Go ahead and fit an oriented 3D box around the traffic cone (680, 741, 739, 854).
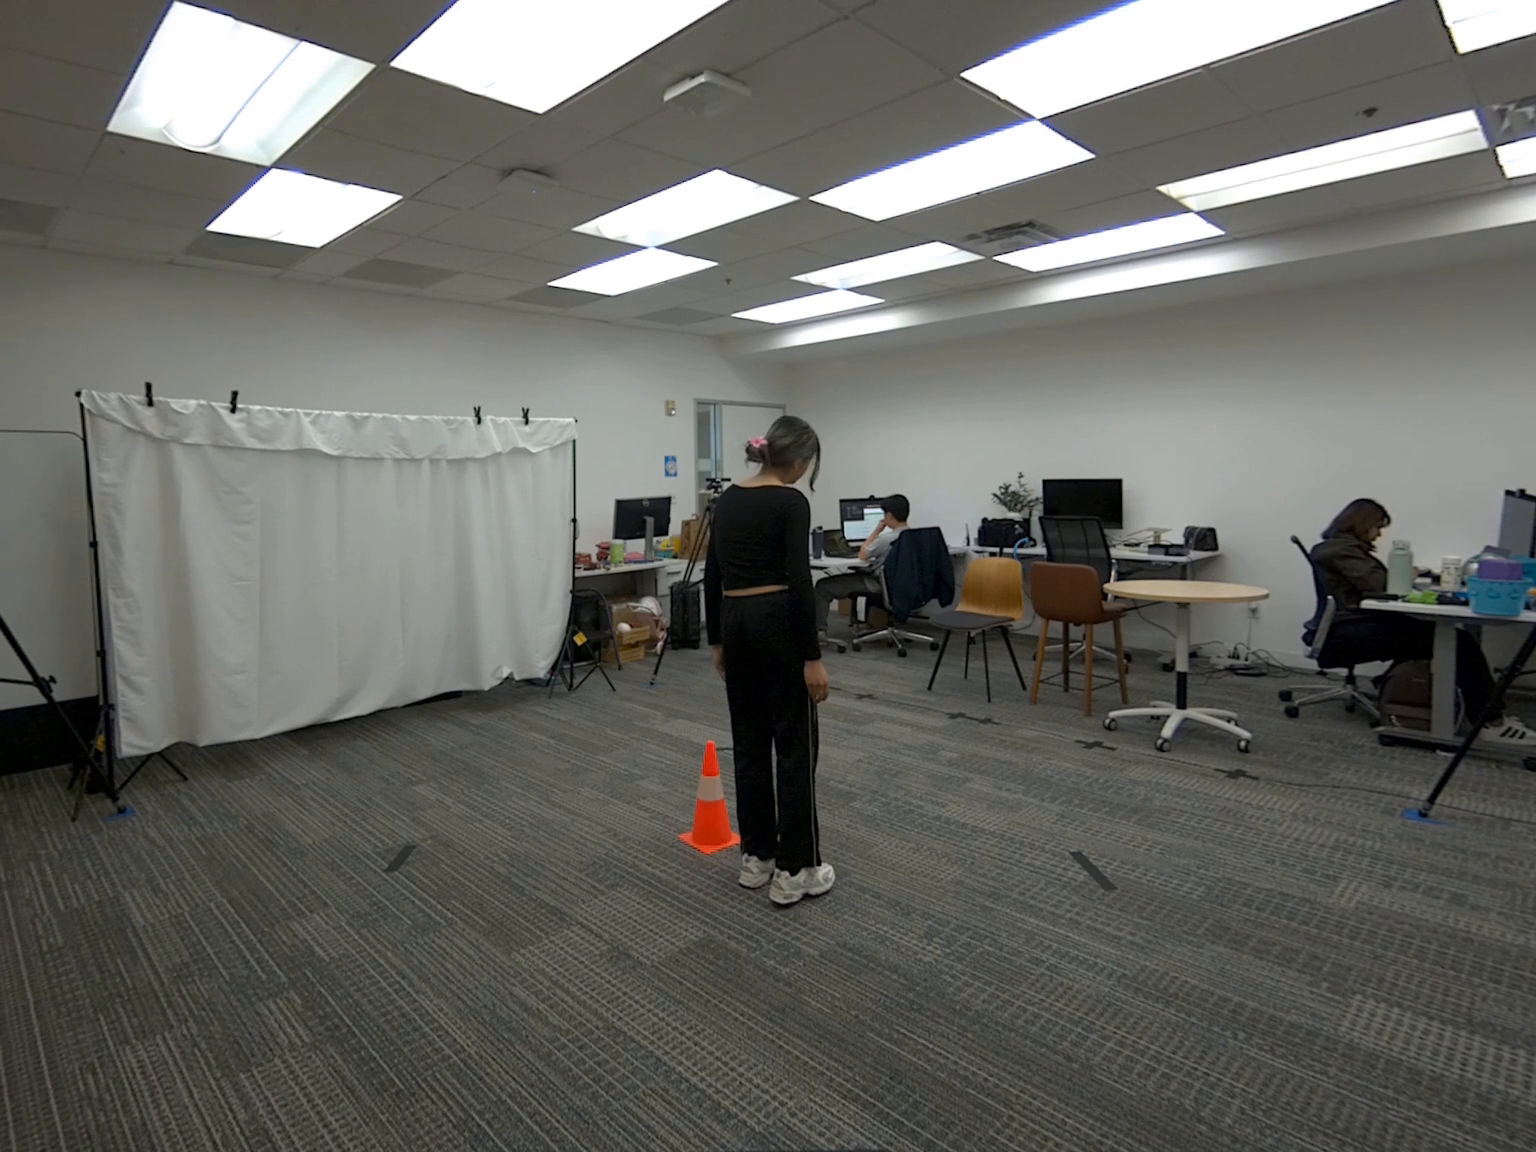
[{"bbox_3d":[-0.215,0.838,3.313,0.199,0.382,0.209,-2,4,-35],"label":"traffic cone"}]
